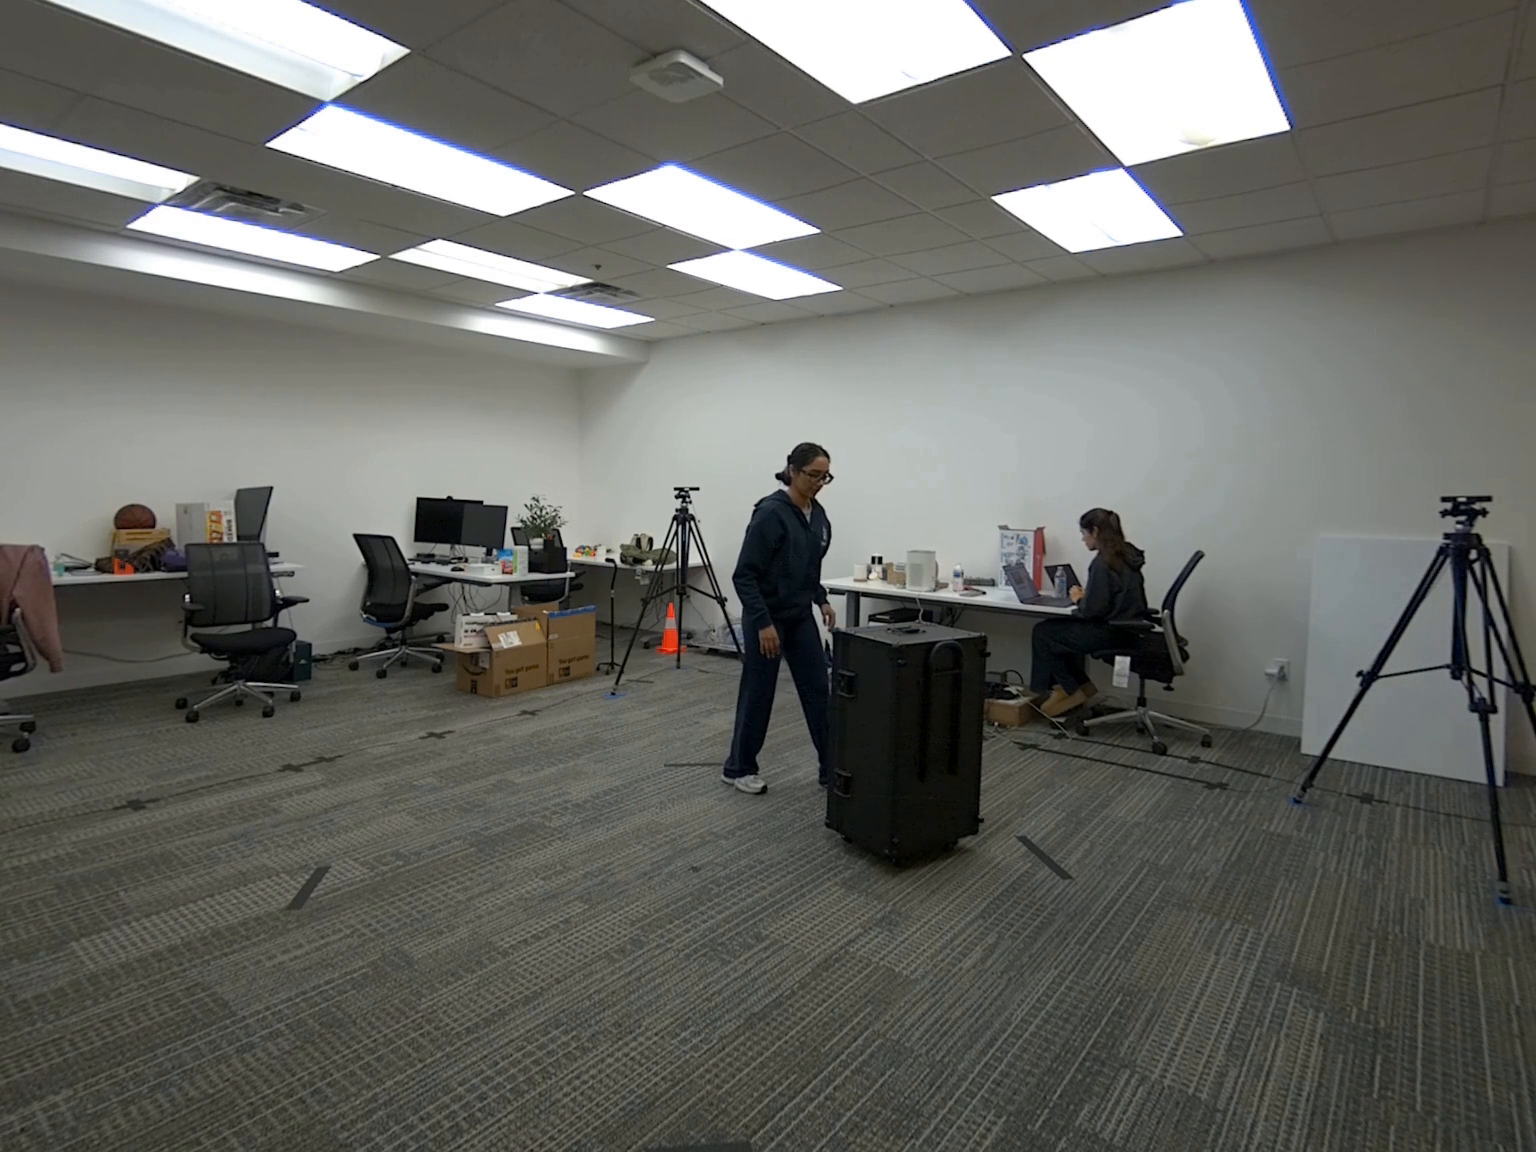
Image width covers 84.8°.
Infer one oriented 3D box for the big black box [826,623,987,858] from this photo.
[{"bbox_3d":[0.534,0.637,3.310,0.506,0.858,0.409,-1,5,-34],"label":"big black box"}]
